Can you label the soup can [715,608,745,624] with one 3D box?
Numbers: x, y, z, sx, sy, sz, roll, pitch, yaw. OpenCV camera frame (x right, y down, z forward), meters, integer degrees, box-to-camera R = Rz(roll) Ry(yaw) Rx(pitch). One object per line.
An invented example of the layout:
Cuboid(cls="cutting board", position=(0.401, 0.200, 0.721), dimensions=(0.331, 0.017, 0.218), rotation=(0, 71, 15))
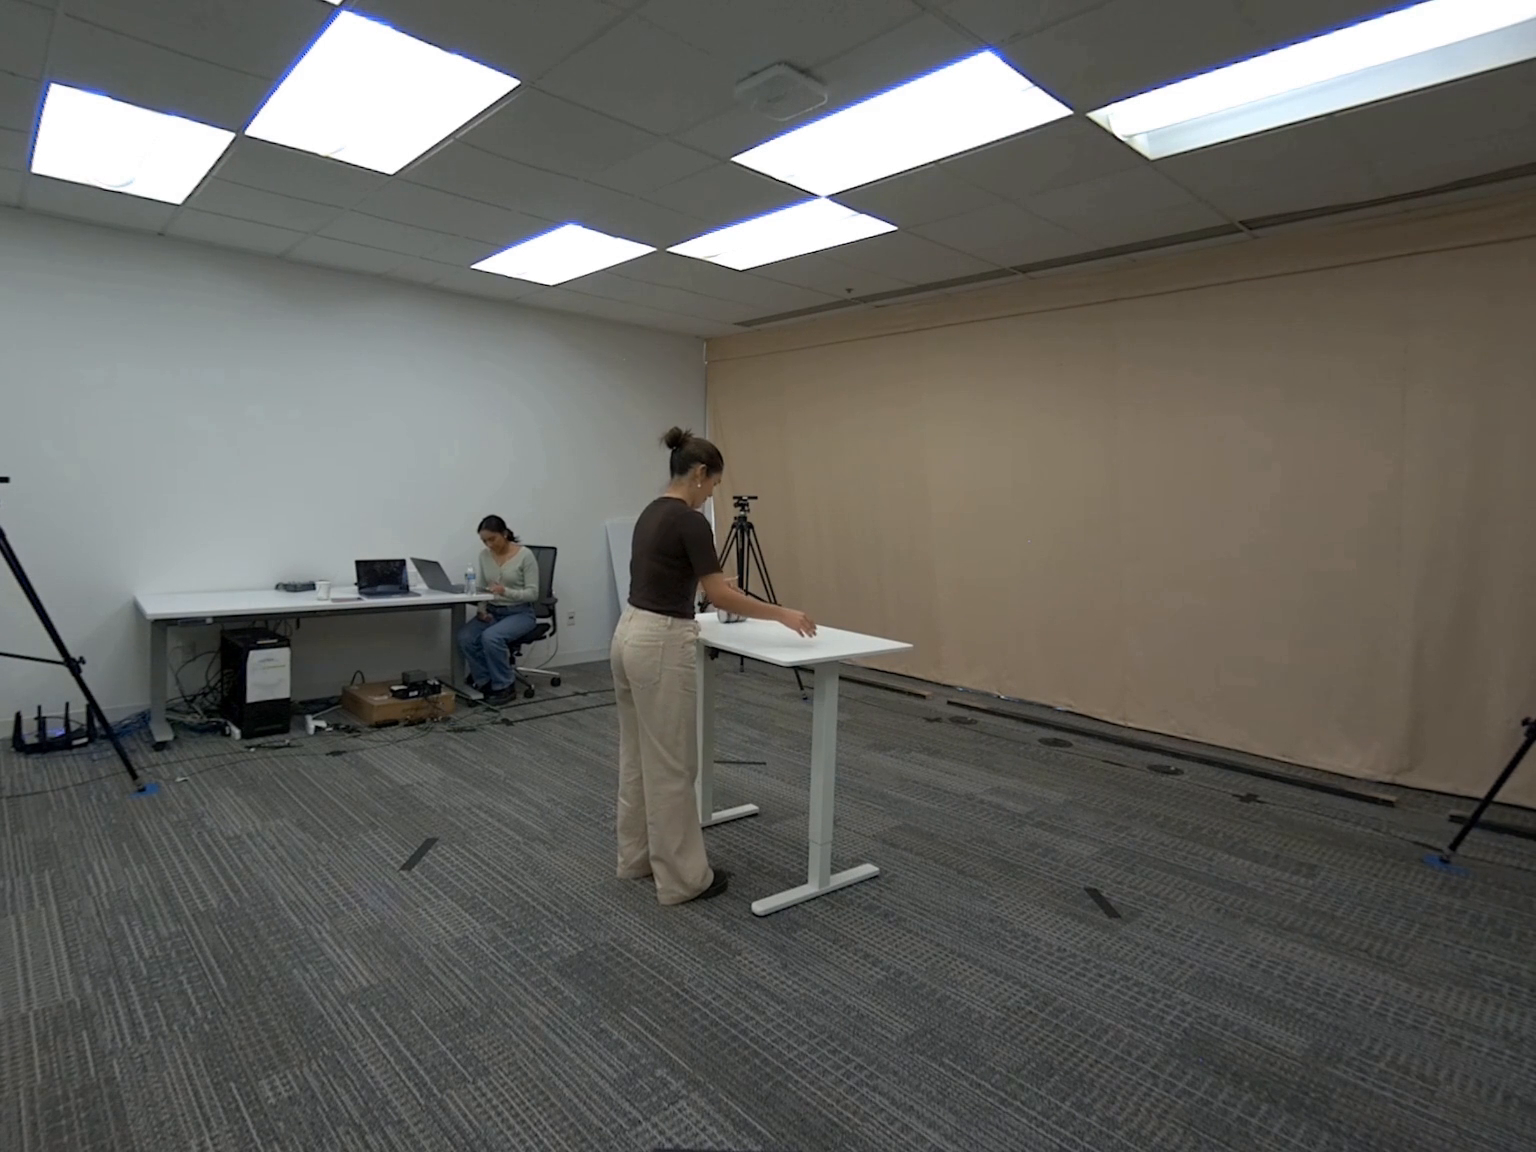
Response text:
Cuboid(cls="soup can", position=(-0.150, 0.154, 3.435), dimensions=(0.119, 0.067, 0.069), rotation=(-4, 7, -37))
